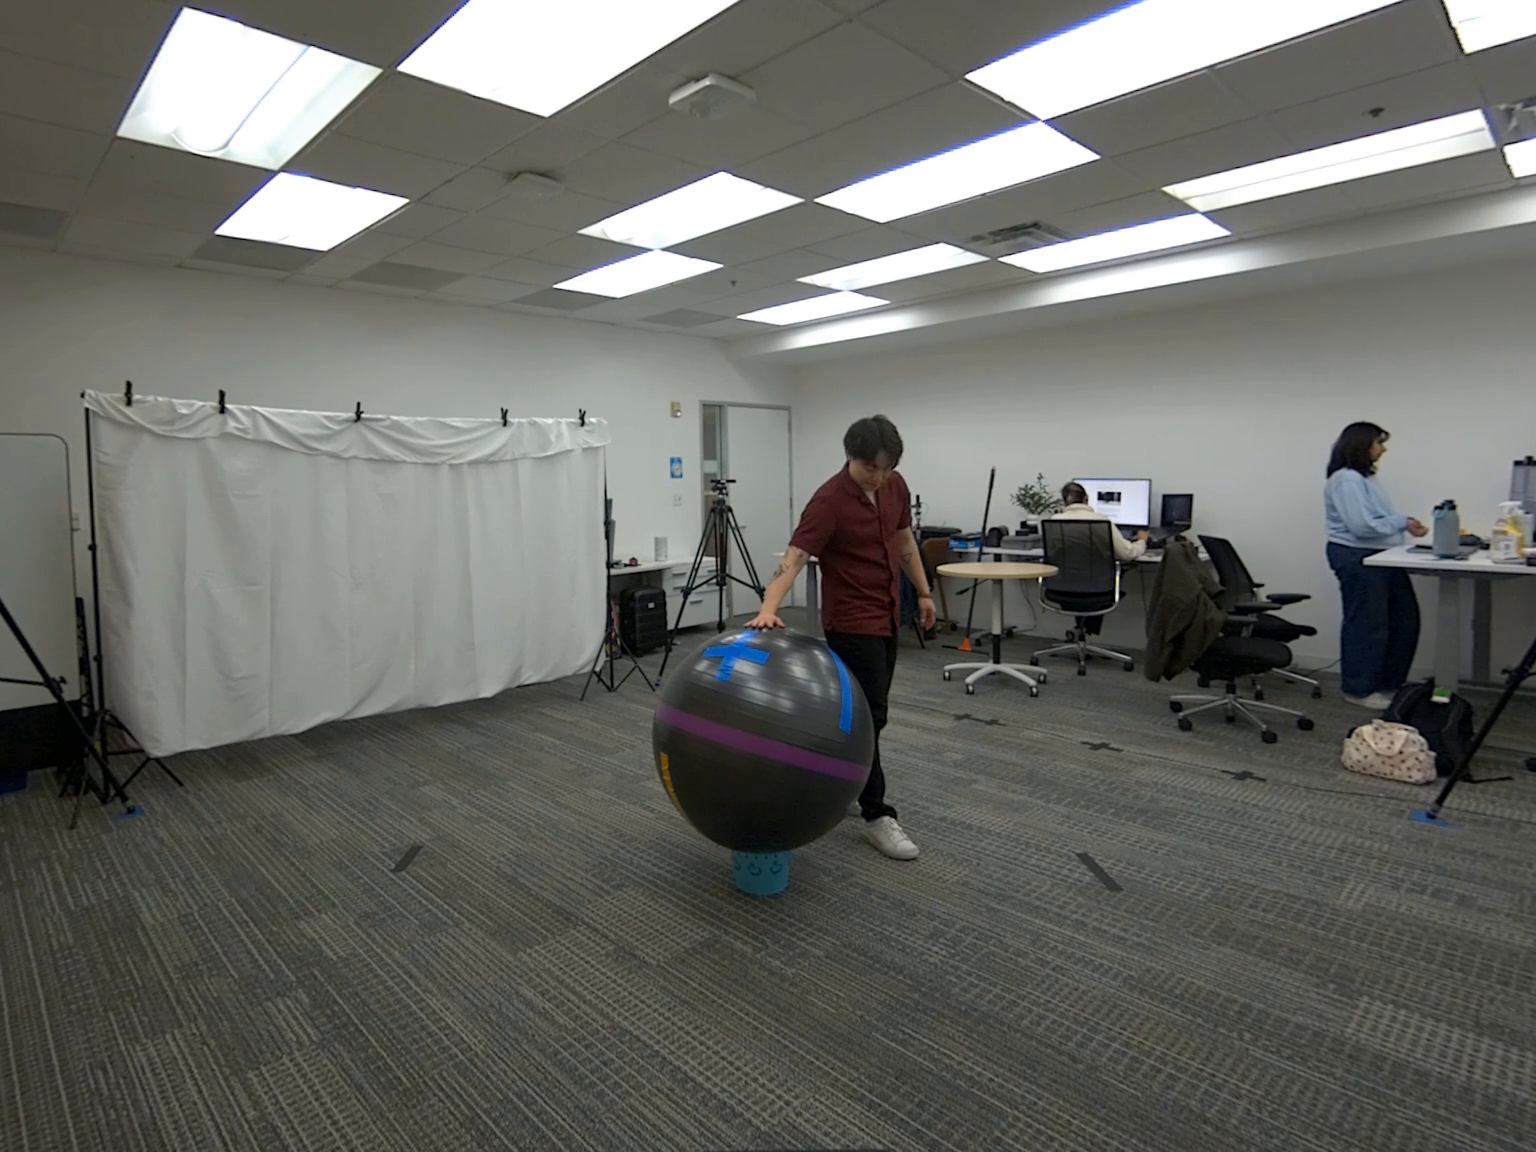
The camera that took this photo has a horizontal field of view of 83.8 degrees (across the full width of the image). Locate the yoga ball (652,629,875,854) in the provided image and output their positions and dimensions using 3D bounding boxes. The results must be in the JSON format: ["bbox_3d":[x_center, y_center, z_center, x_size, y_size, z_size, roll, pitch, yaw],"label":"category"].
[{"bbox_3d":[-0.018,0.552,2.953,0.757,0.755,0.762,-1,5,-2],"label":"yoga ball"}]
